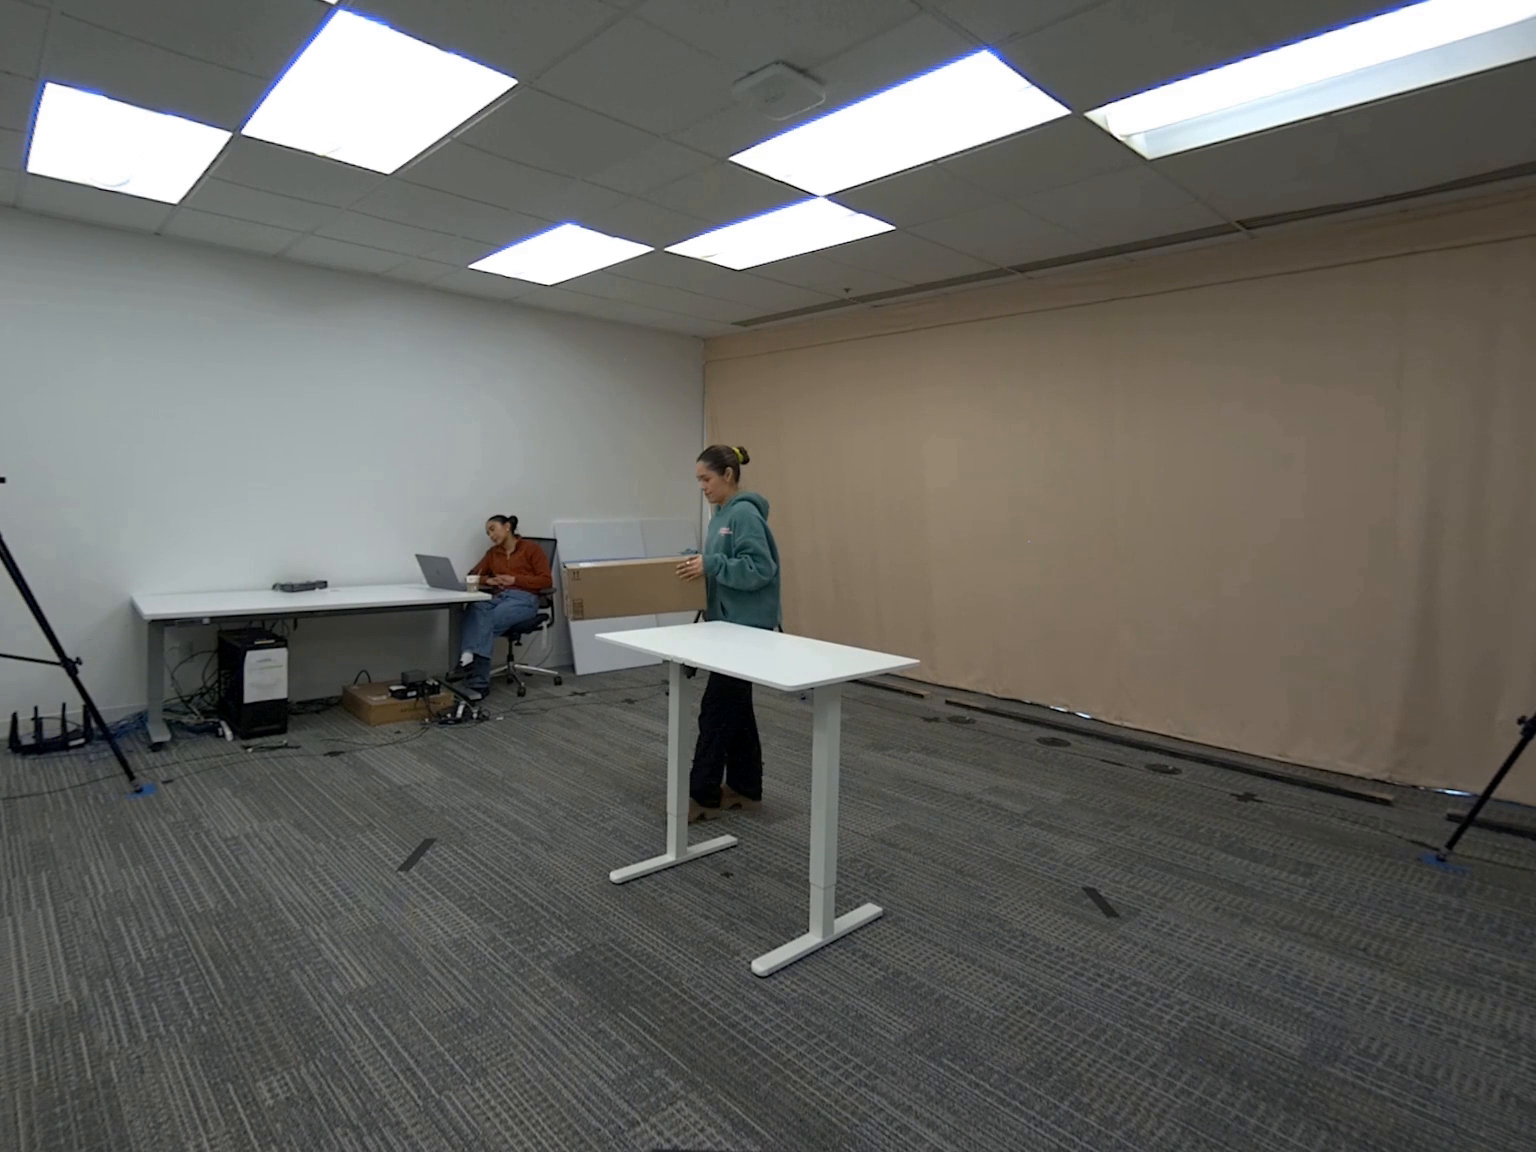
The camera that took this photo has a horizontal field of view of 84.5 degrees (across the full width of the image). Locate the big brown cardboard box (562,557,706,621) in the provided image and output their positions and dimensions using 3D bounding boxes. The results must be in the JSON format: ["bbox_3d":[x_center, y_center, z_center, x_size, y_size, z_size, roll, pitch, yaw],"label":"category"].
[{"bbox_3d":[-0.606,0.045,3.629,0.581,0.233,0.423,-4,3,-17],"label":"big brown cardboard box"}]
